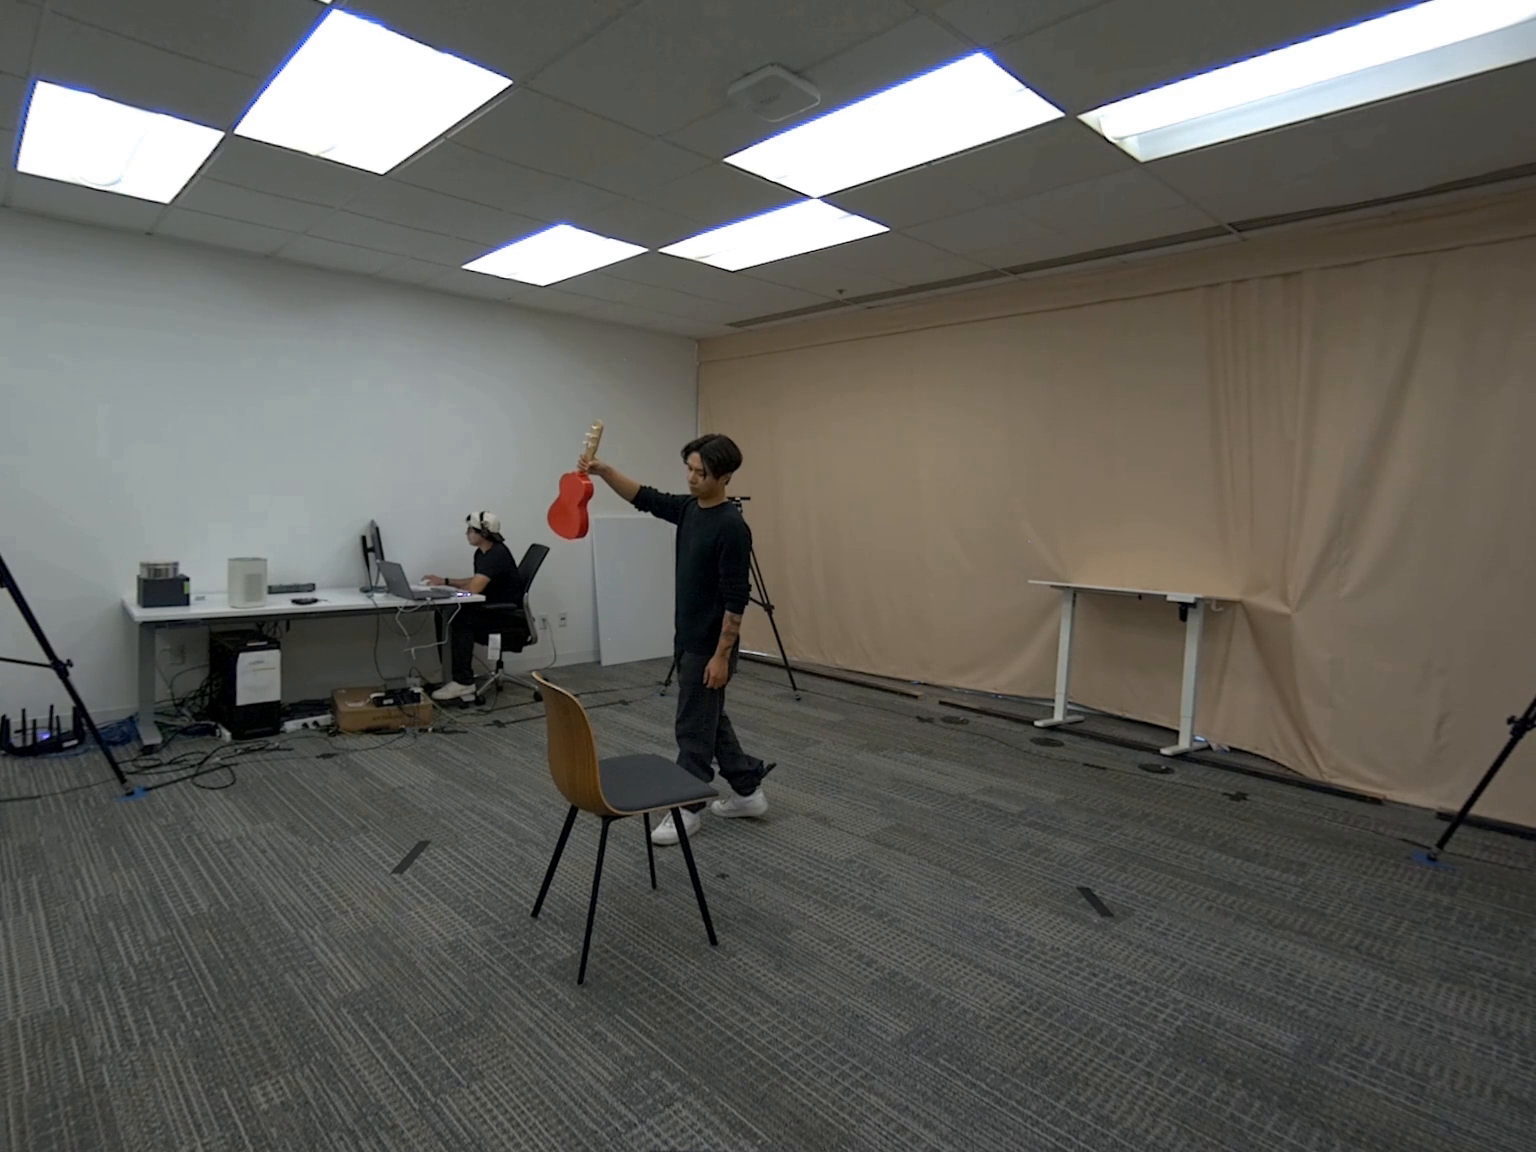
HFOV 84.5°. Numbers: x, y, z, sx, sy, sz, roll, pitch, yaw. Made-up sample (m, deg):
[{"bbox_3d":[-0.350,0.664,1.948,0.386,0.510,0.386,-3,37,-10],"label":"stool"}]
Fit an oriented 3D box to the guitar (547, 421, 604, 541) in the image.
[{"bbox_3d":[-0.792,-0.400,3.451,0.198,0.494,0.069,19,15,33],"label":"guitar"}]
